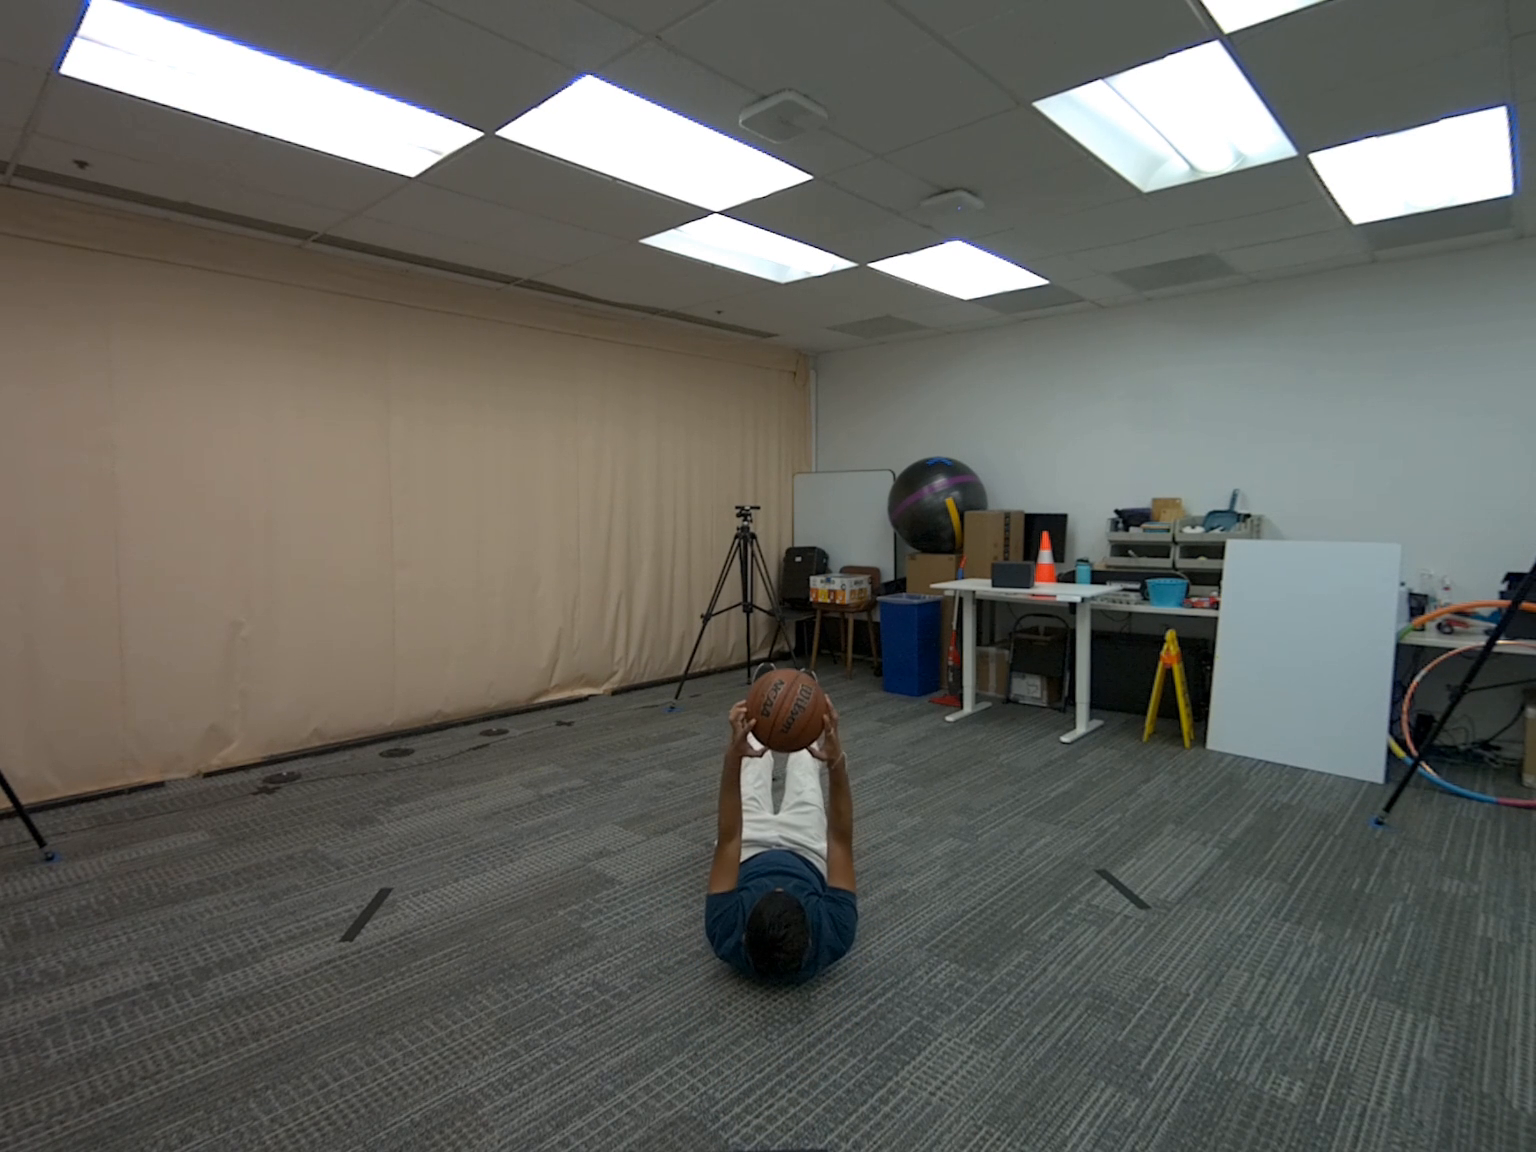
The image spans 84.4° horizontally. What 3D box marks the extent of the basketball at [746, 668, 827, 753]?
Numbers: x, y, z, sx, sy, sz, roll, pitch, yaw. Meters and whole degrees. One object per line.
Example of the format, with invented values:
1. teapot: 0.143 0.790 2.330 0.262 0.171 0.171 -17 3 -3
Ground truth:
1. basketball: 0.059 0.396 2.410 0.236 0.235 0.237 0 4 -2
